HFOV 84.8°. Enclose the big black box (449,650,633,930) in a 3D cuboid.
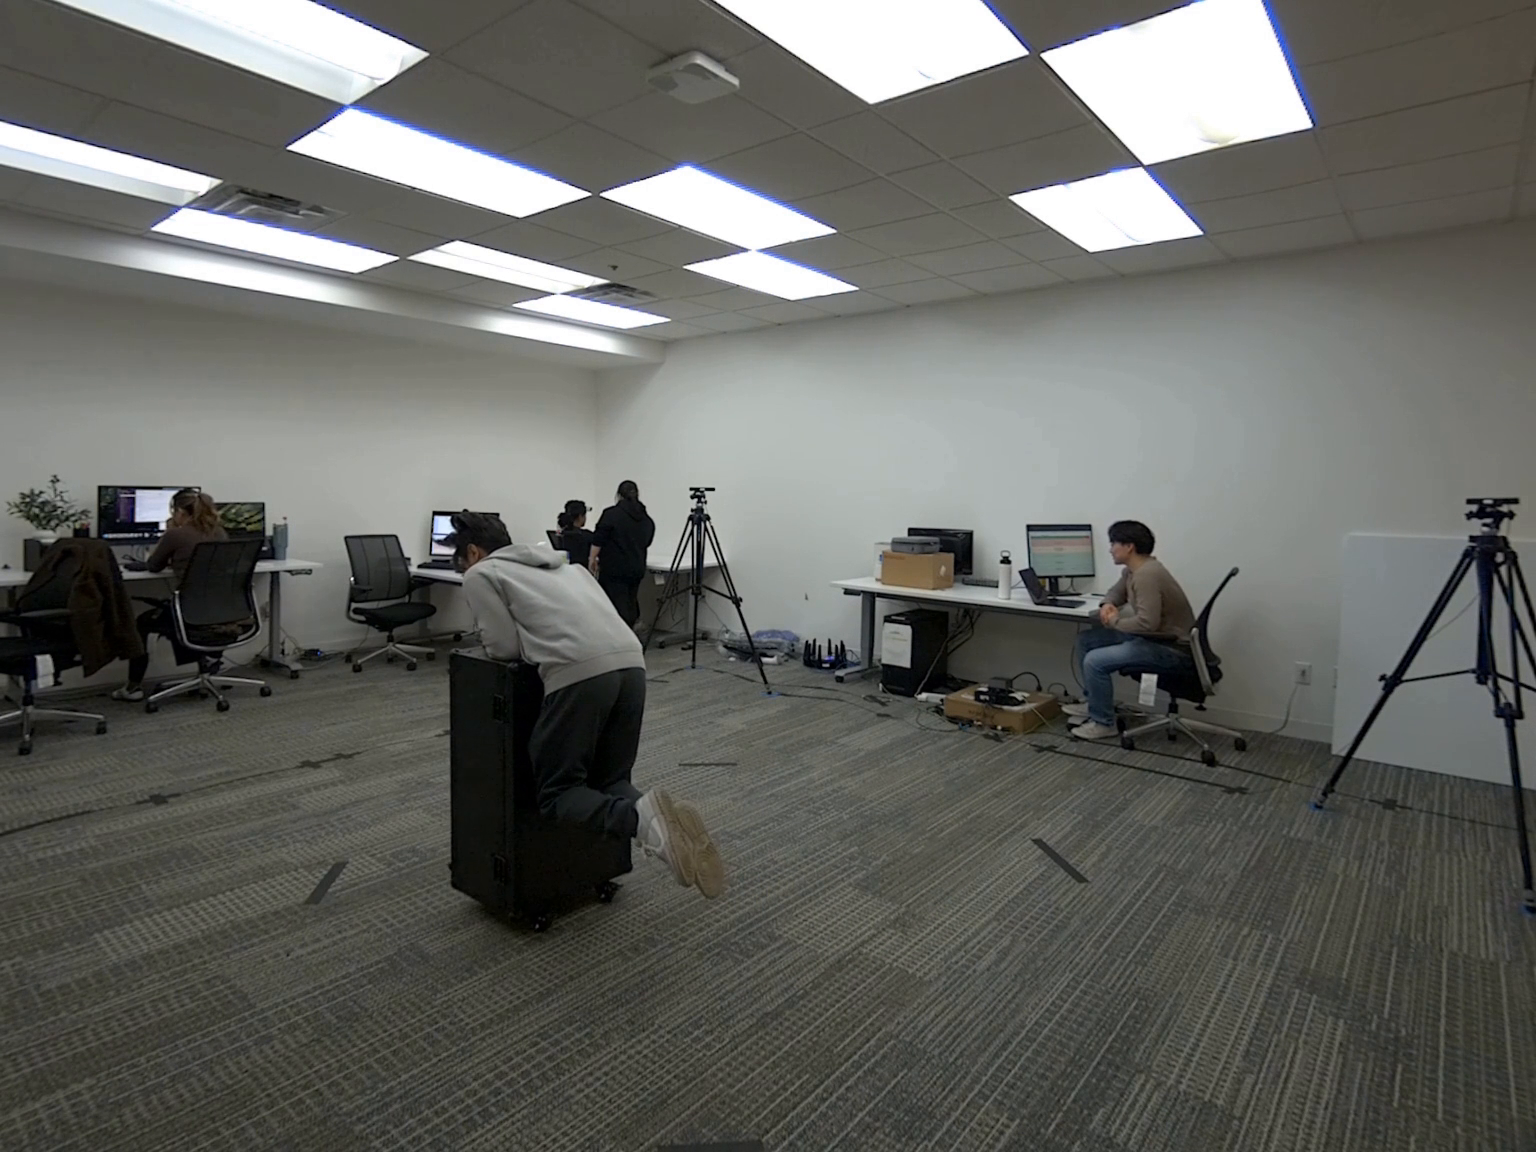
[{"bbox_3d":[-0.773,0.667,2.834,0.409,0.859,0.506,2,4,40],"label":"big black box"}]
